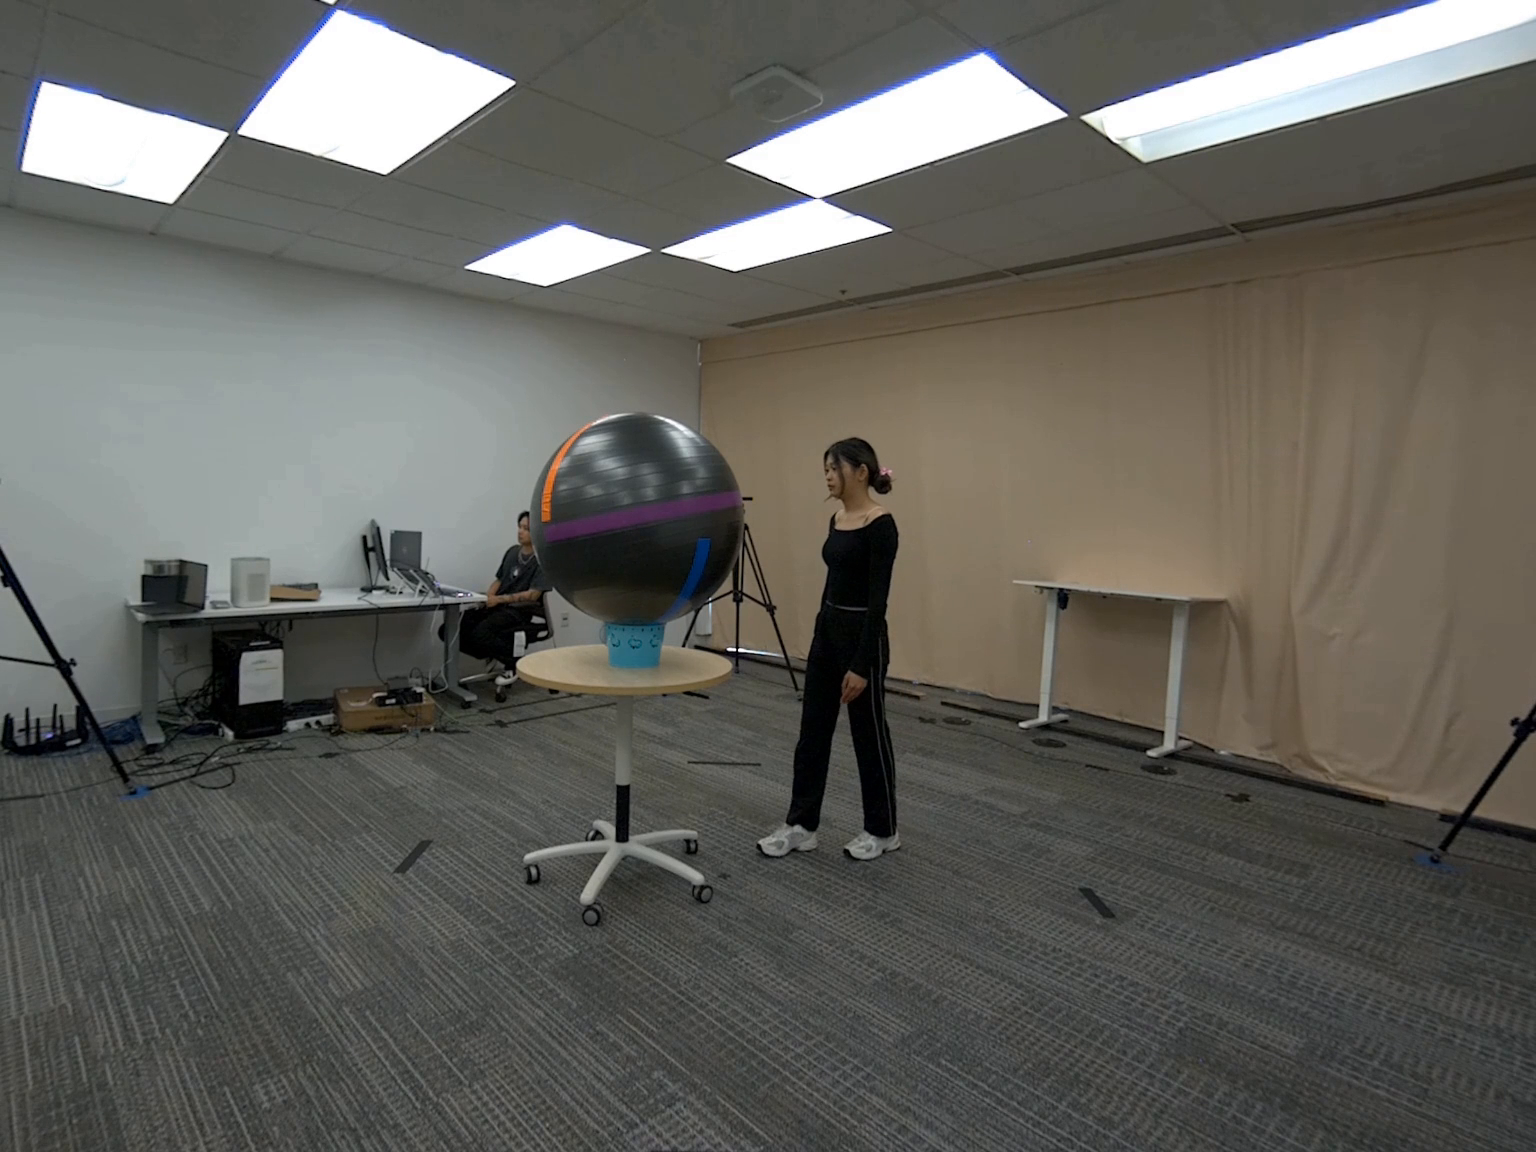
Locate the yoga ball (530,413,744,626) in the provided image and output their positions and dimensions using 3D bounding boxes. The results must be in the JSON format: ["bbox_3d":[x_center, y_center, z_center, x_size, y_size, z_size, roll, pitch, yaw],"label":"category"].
[{"bbox_3d":[-0.471,-0.191,3.010,0.757,0.756,0.761,1,4,-1],"label":"yoga ball"}]
